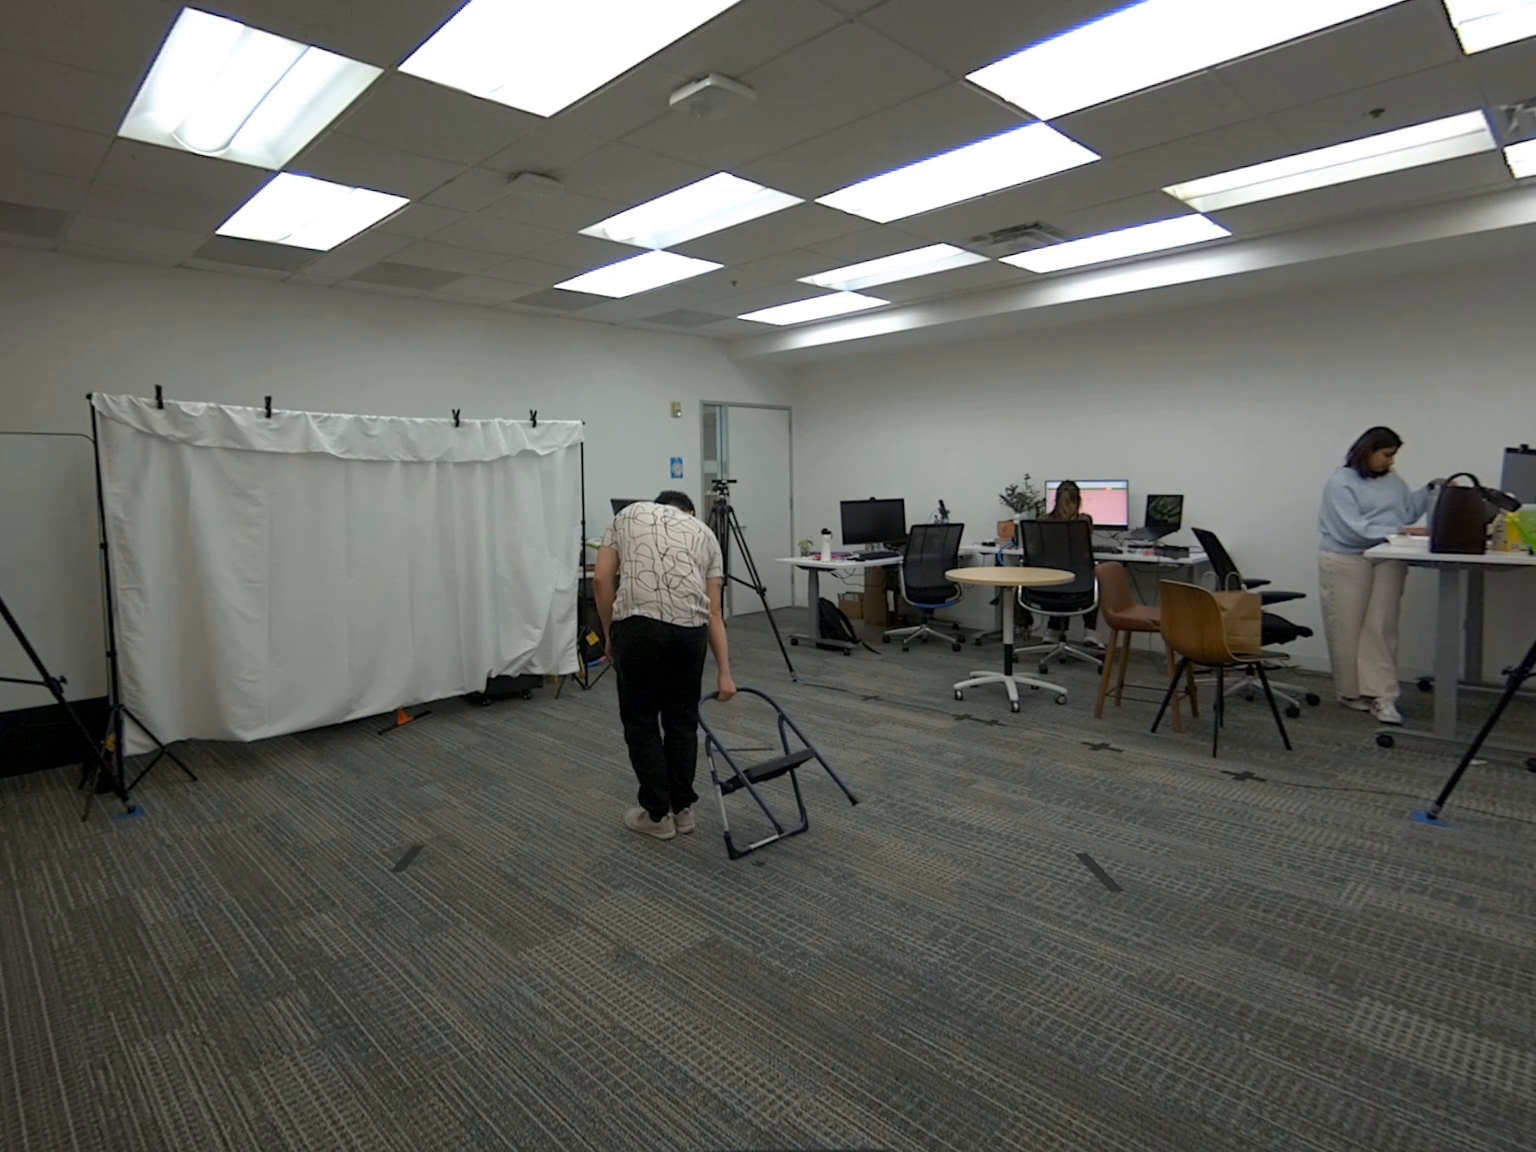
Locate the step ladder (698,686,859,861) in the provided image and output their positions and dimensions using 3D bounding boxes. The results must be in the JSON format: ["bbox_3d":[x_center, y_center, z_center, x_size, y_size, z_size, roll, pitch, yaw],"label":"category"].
[{"bbox_3d":[-0.014,0.689,3.280,0.419,0.621,0.350,-3,-29,-43],"label":"step ladder"}]
